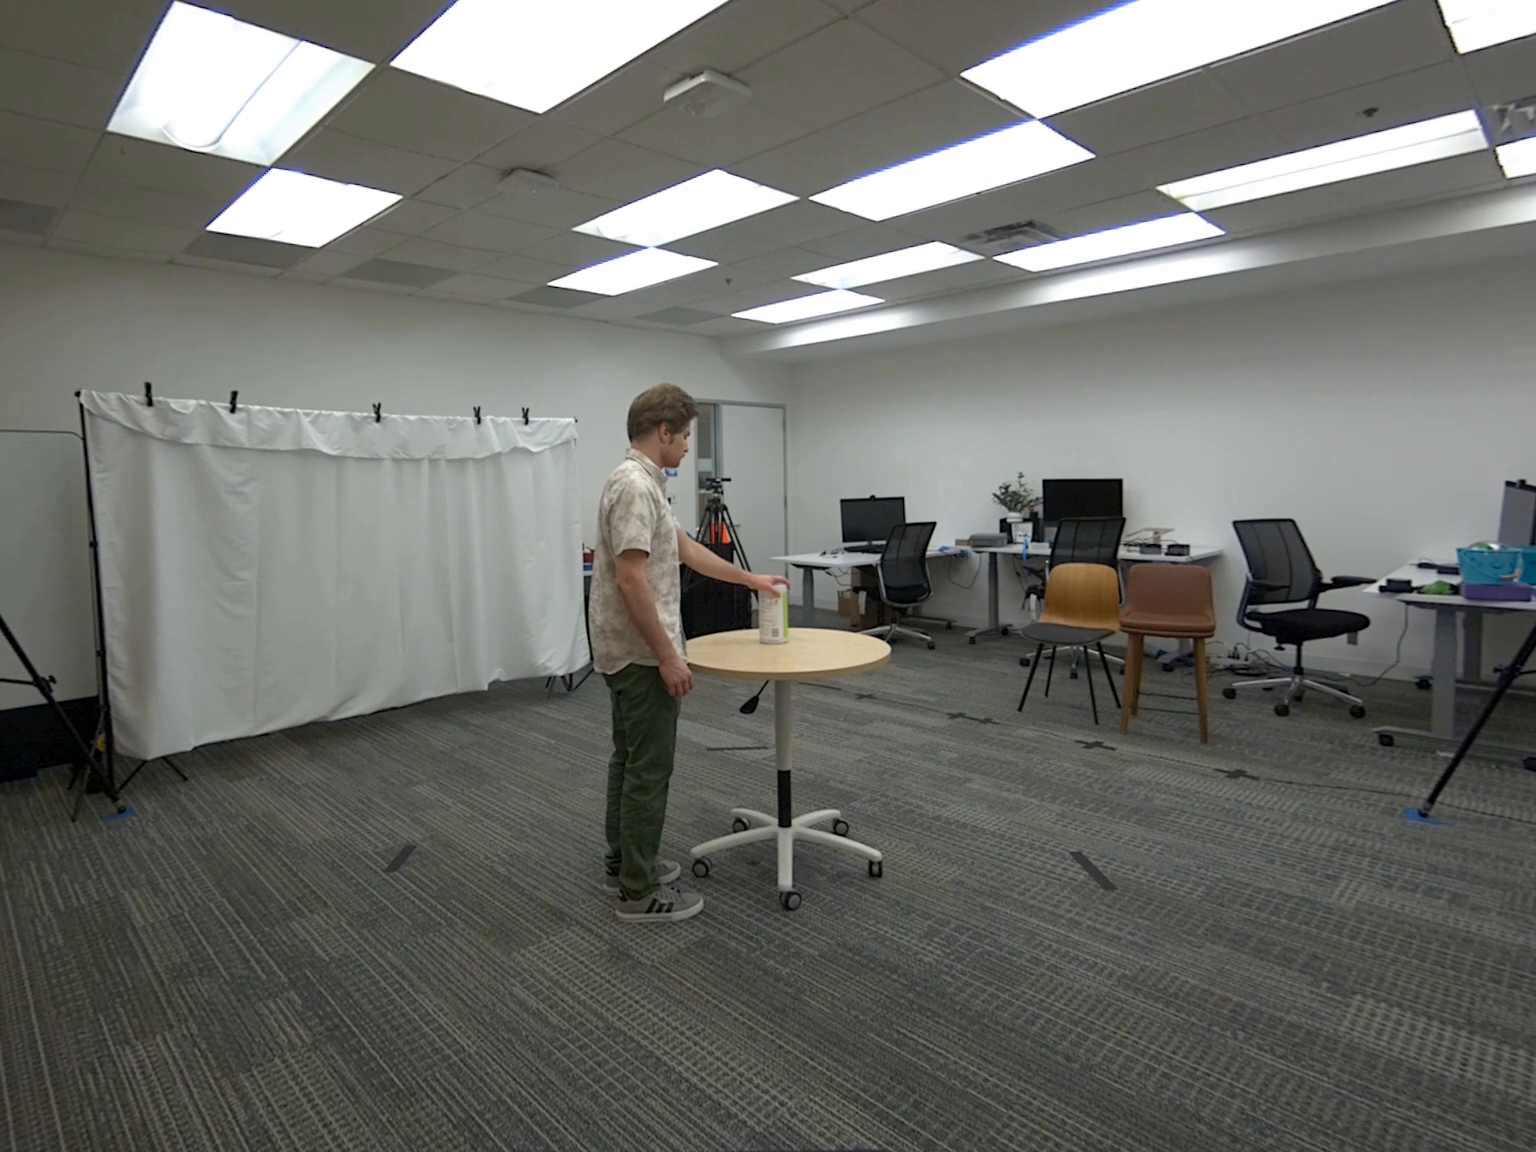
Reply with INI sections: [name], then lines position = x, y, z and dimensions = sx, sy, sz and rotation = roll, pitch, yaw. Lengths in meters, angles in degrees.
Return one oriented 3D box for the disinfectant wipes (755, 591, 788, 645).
[disinfectant wipes]
position = 0.023, 0.138, 3.156
dimensions = 0.118, 0.217, 0.118
rotation = 0, 2, -2
